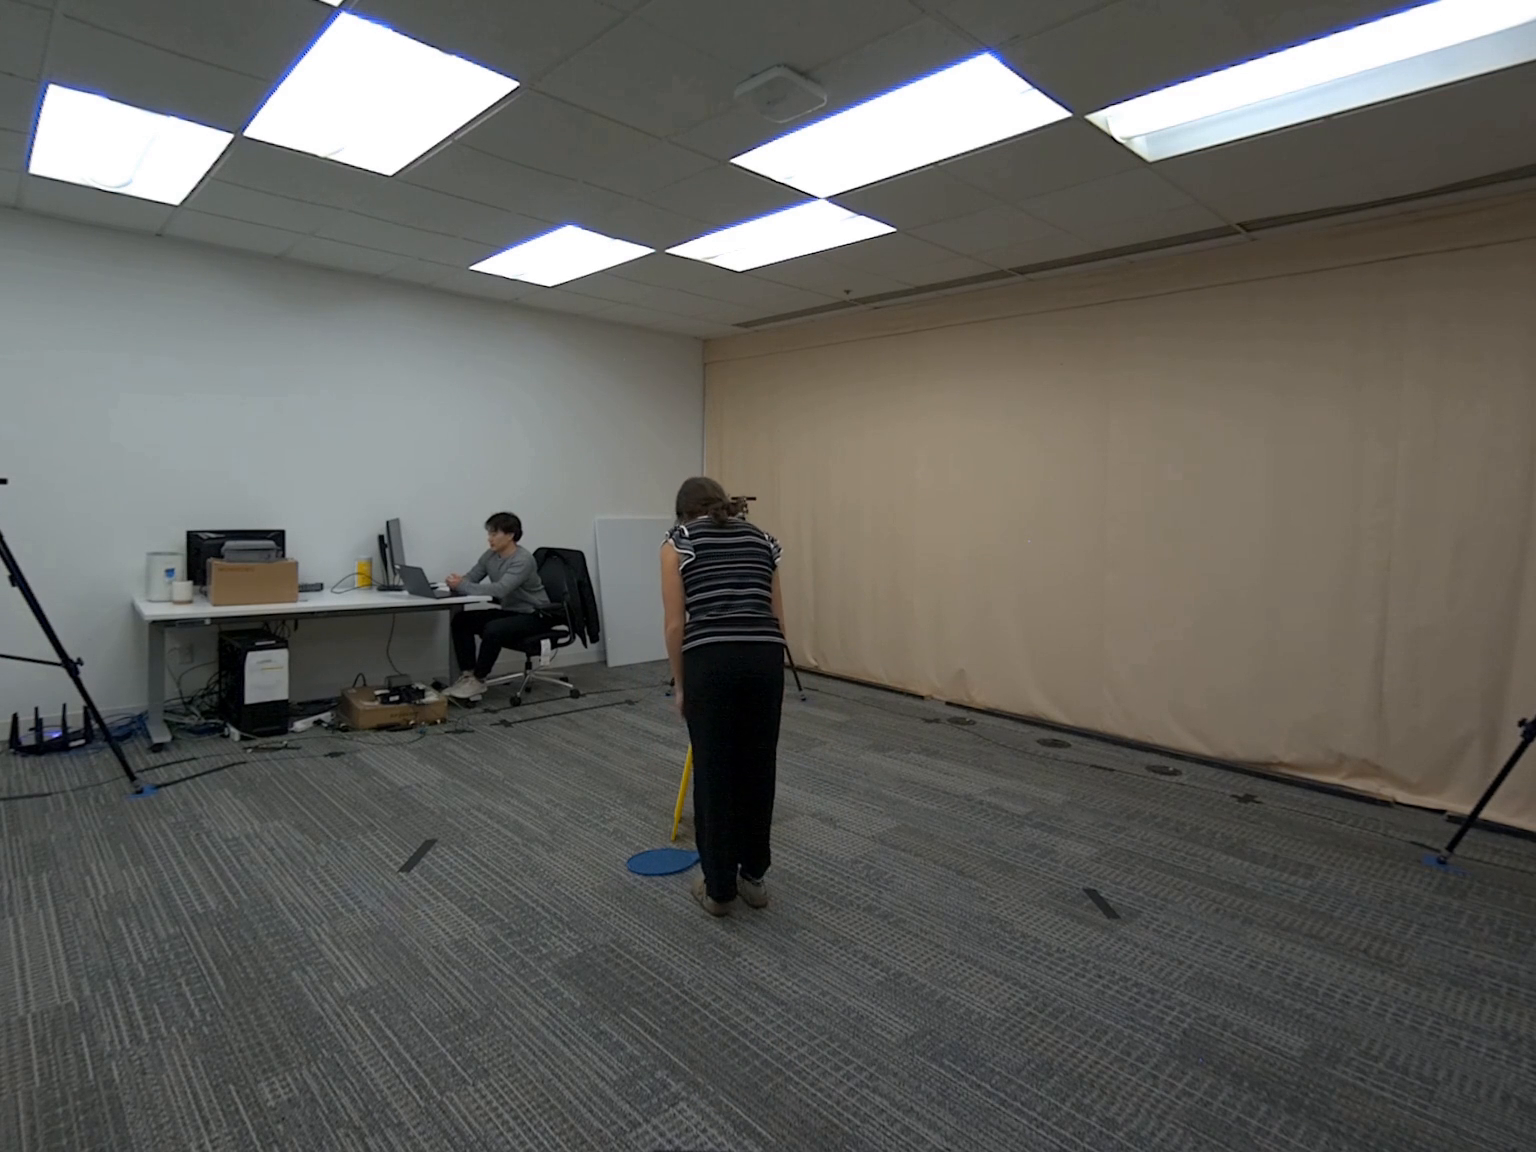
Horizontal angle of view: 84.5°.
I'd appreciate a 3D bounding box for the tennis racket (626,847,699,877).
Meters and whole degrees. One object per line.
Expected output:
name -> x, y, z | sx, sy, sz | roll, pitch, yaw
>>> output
tennis racket -> -0.331, 1.072, 3.217 | 0.427, 0.031, 0.217 | -2, 6, -19
